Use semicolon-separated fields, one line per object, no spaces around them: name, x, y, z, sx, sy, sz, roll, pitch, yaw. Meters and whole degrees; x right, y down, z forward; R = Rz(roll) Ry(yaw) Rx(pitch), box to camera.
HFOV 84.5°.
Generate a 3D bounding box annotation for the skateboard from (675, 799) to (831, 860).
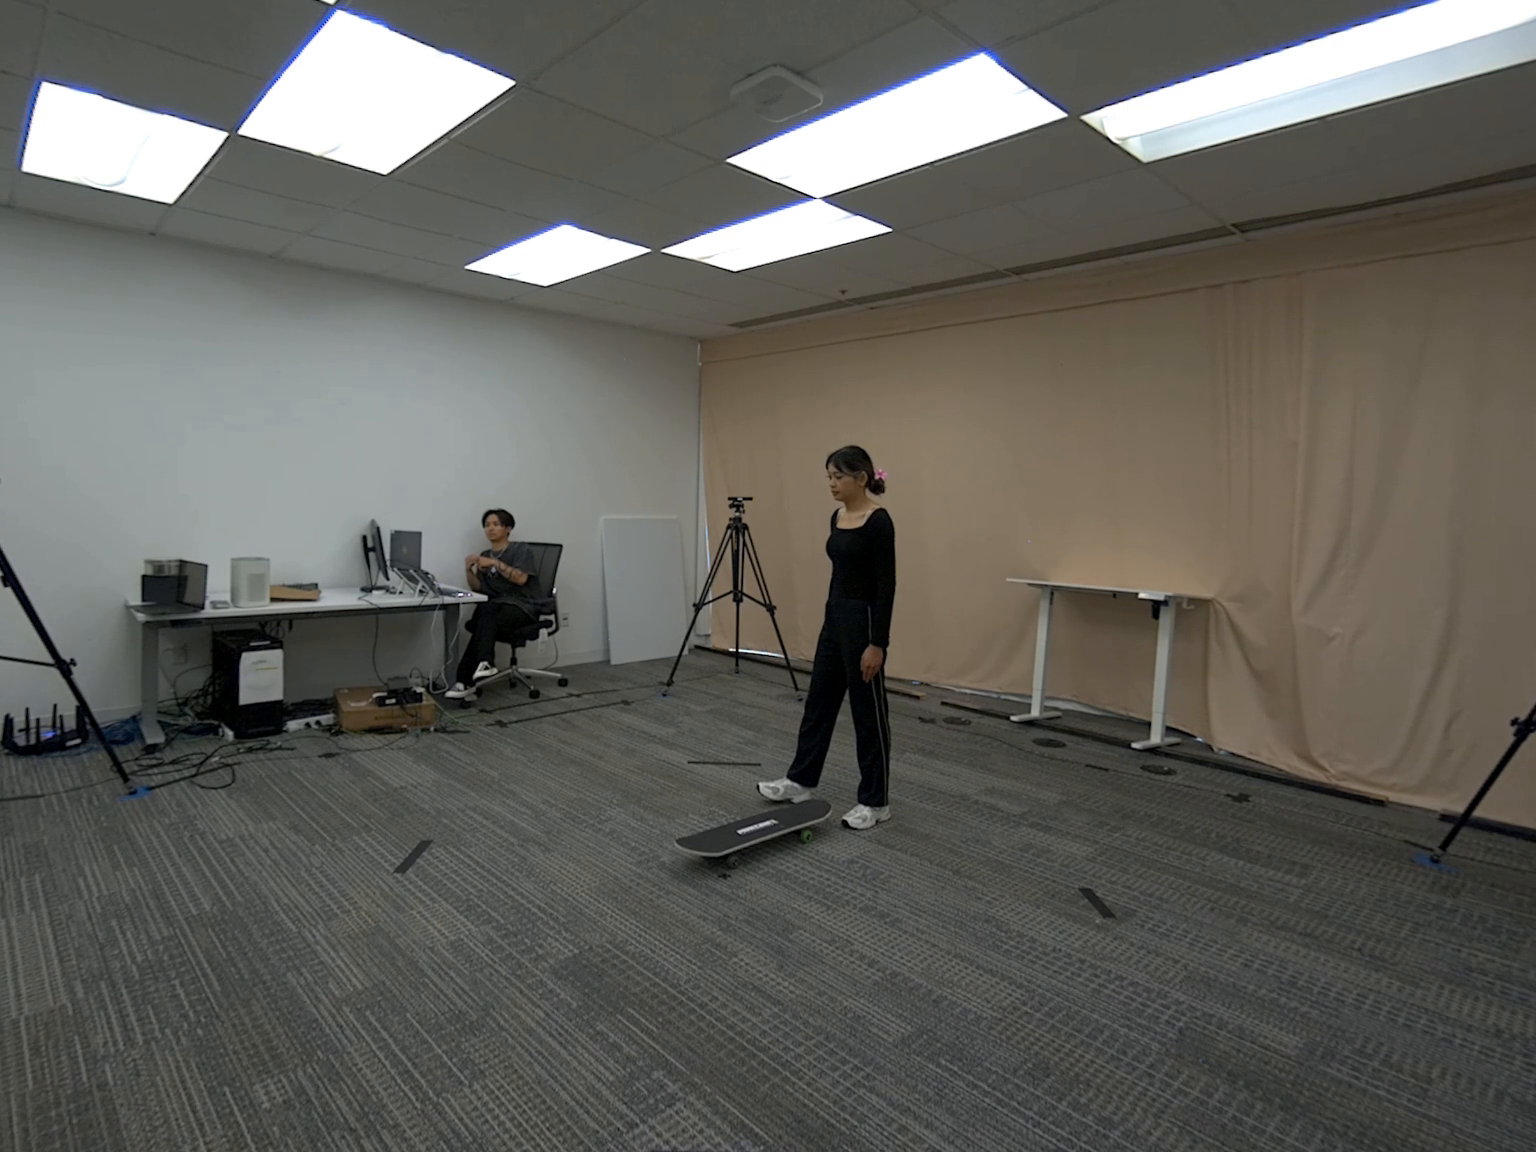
skateboard;-0.046;1.034;3.352;0.767;0.110;0.198;-3;7;-43
